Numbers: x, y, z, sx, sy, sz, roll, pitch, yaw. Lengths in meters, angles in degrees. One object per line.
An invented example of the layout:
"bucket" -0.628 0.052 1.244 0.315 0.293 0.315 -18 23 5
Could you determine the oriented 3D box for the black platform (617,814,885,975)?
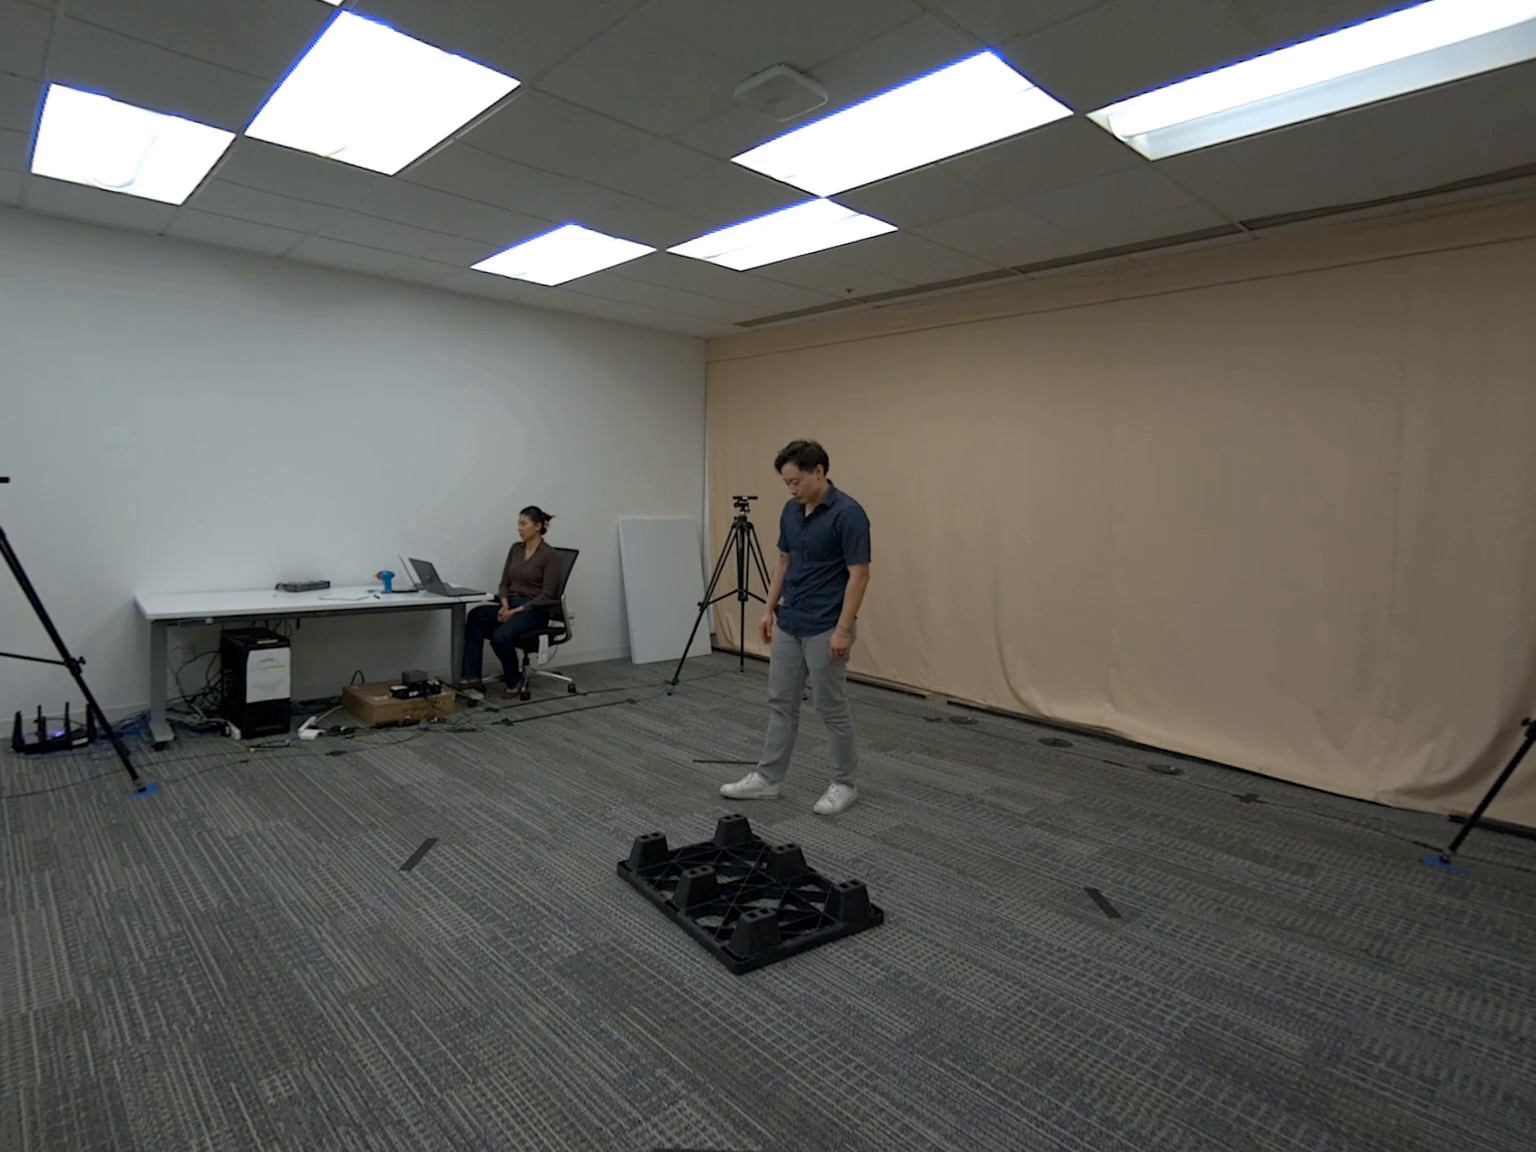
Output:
"black platform" -0.096 1.055 2.931 0.592 0.143 0.825 -2 6 -36
